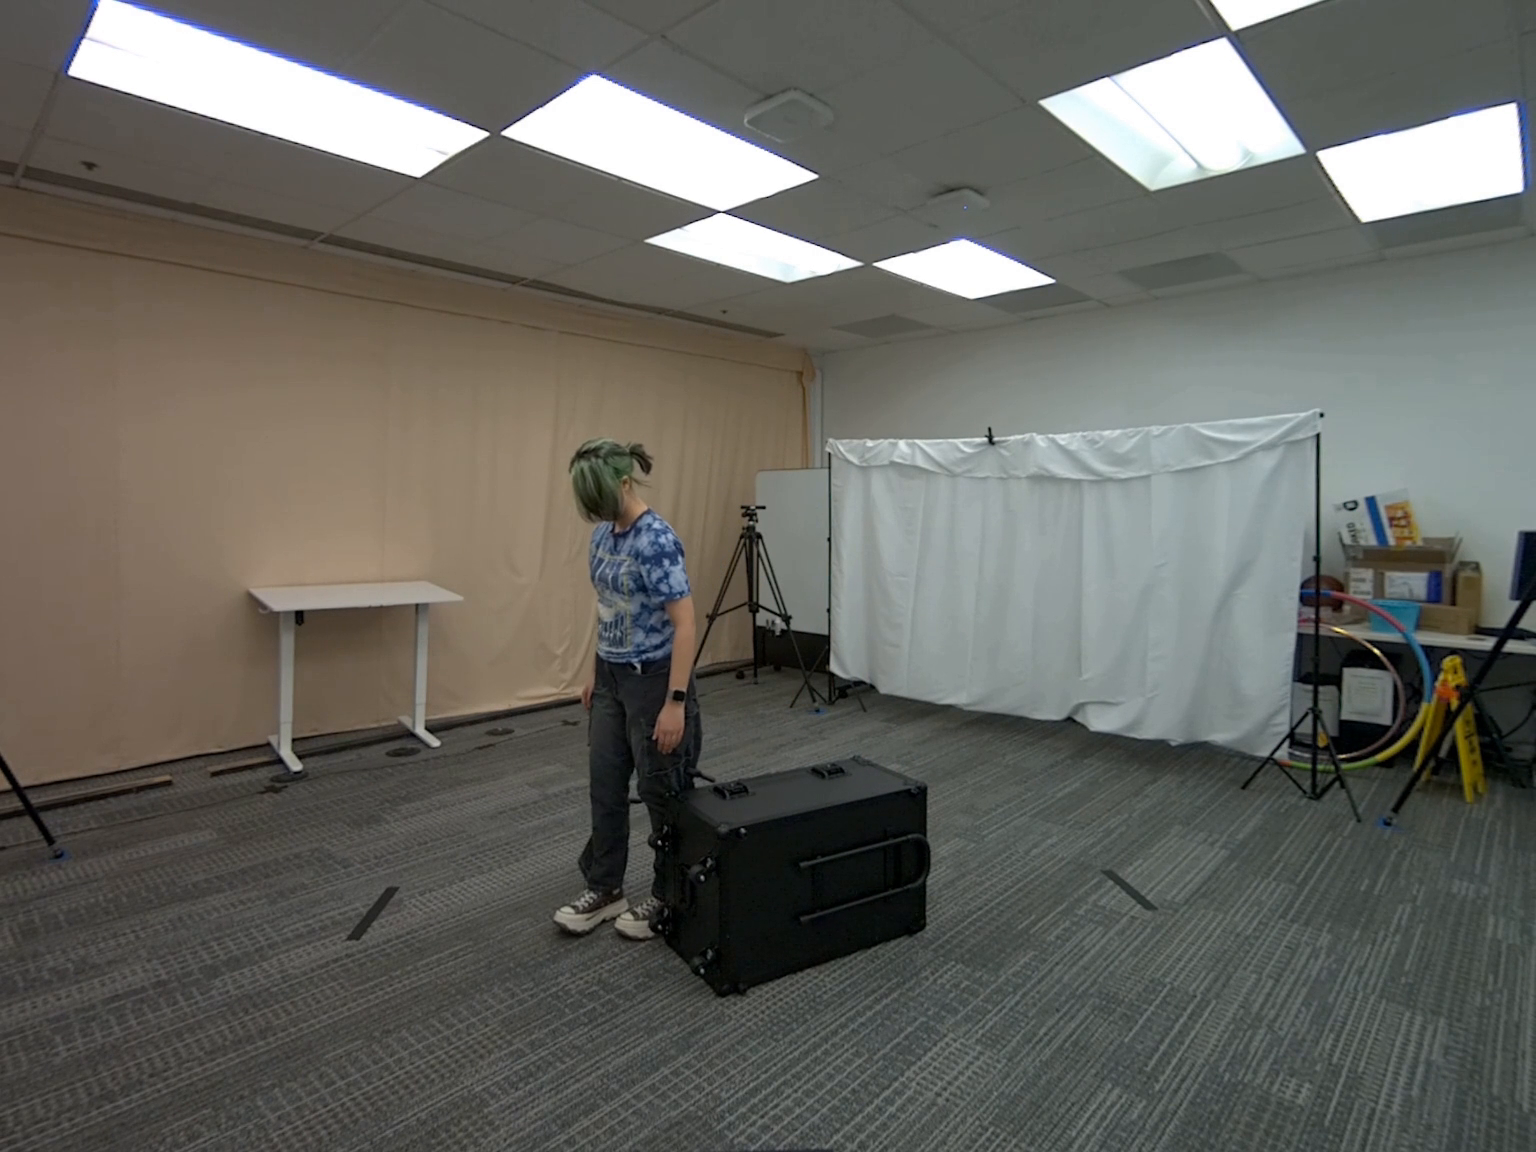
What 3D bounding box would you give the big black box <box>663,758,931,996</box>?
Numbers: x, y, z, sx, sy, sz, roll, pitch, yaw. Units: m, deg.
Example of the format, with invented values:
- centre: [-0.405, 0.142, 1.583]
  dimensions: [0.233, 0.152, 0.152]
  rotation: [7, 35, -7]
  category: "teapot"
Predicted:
- centre: [0.086, 0.926, 2.680]
  dimensions: [0.838, 0.520, 0.408]
  rotation: [-3, 5, -30]
  category: "big black box"
